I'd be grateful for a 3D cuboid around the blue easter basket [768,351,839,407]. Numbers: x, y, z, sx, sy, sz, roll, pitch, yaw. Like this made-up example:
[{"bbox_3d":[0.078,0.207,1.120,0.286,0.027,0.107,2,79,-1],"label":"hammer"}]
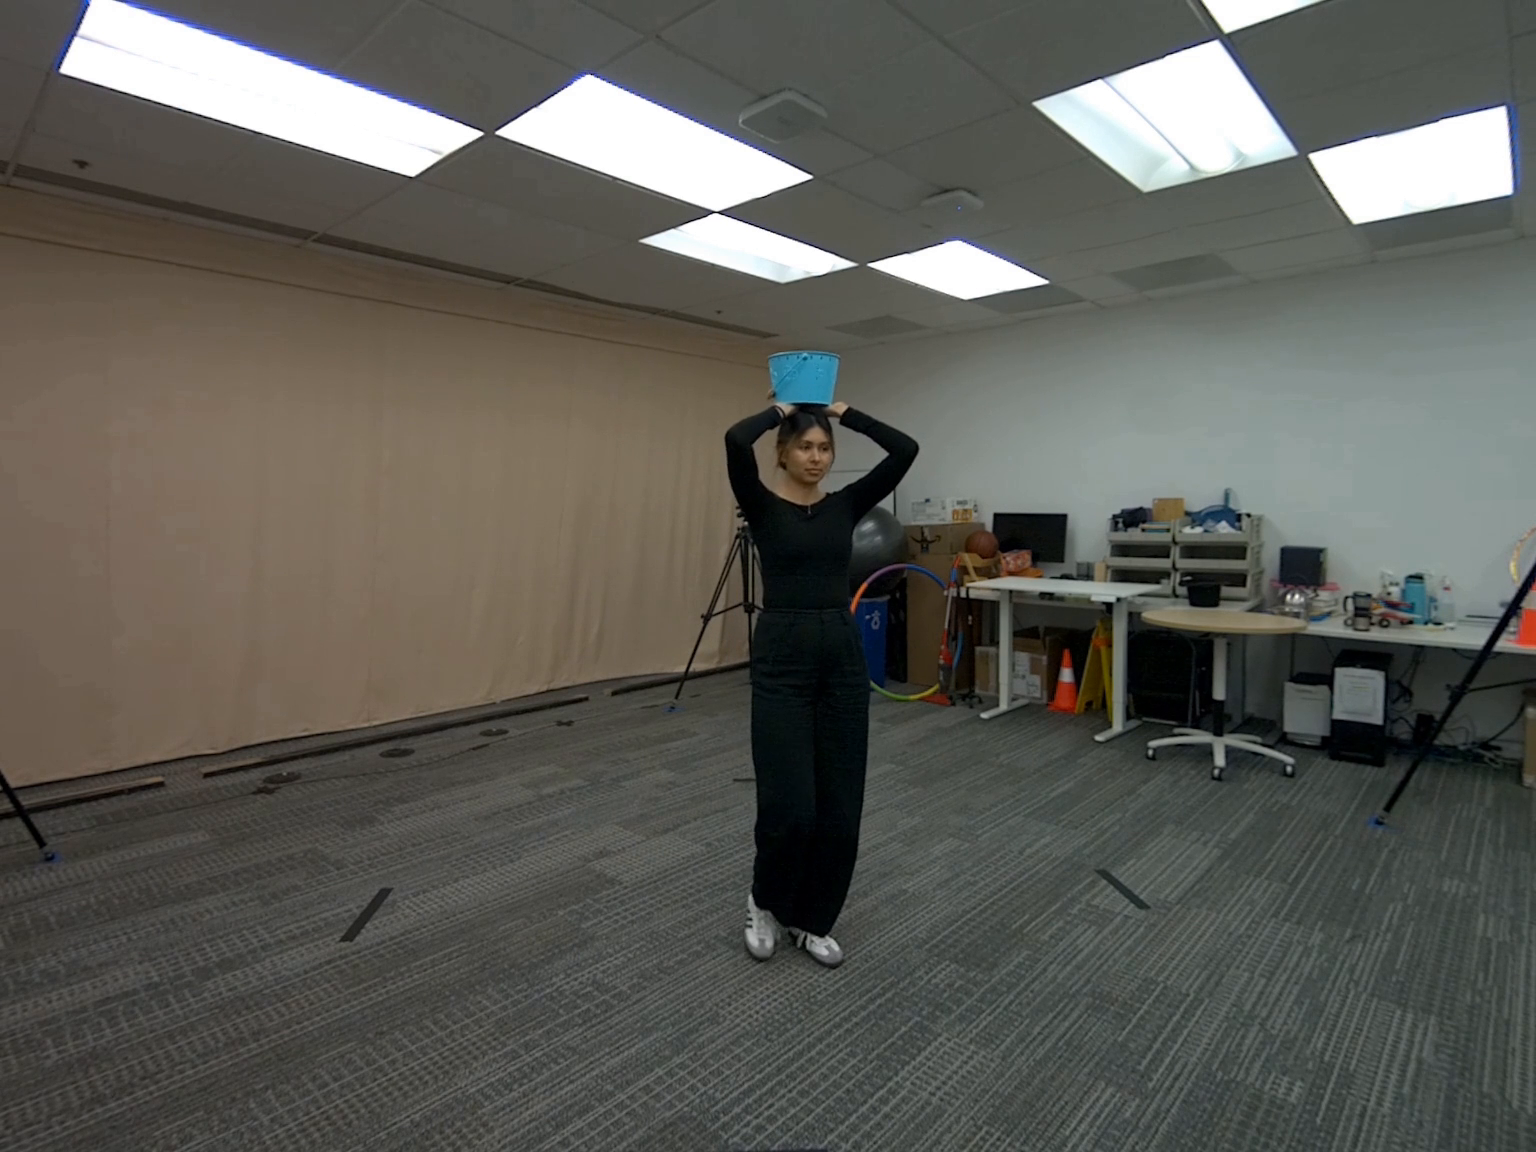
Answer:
[{"bbox_3d":[0.110,-0.616,2.683,0.243,0.155,0.244,0,4,-2],"label":"blue easter basket"}]
